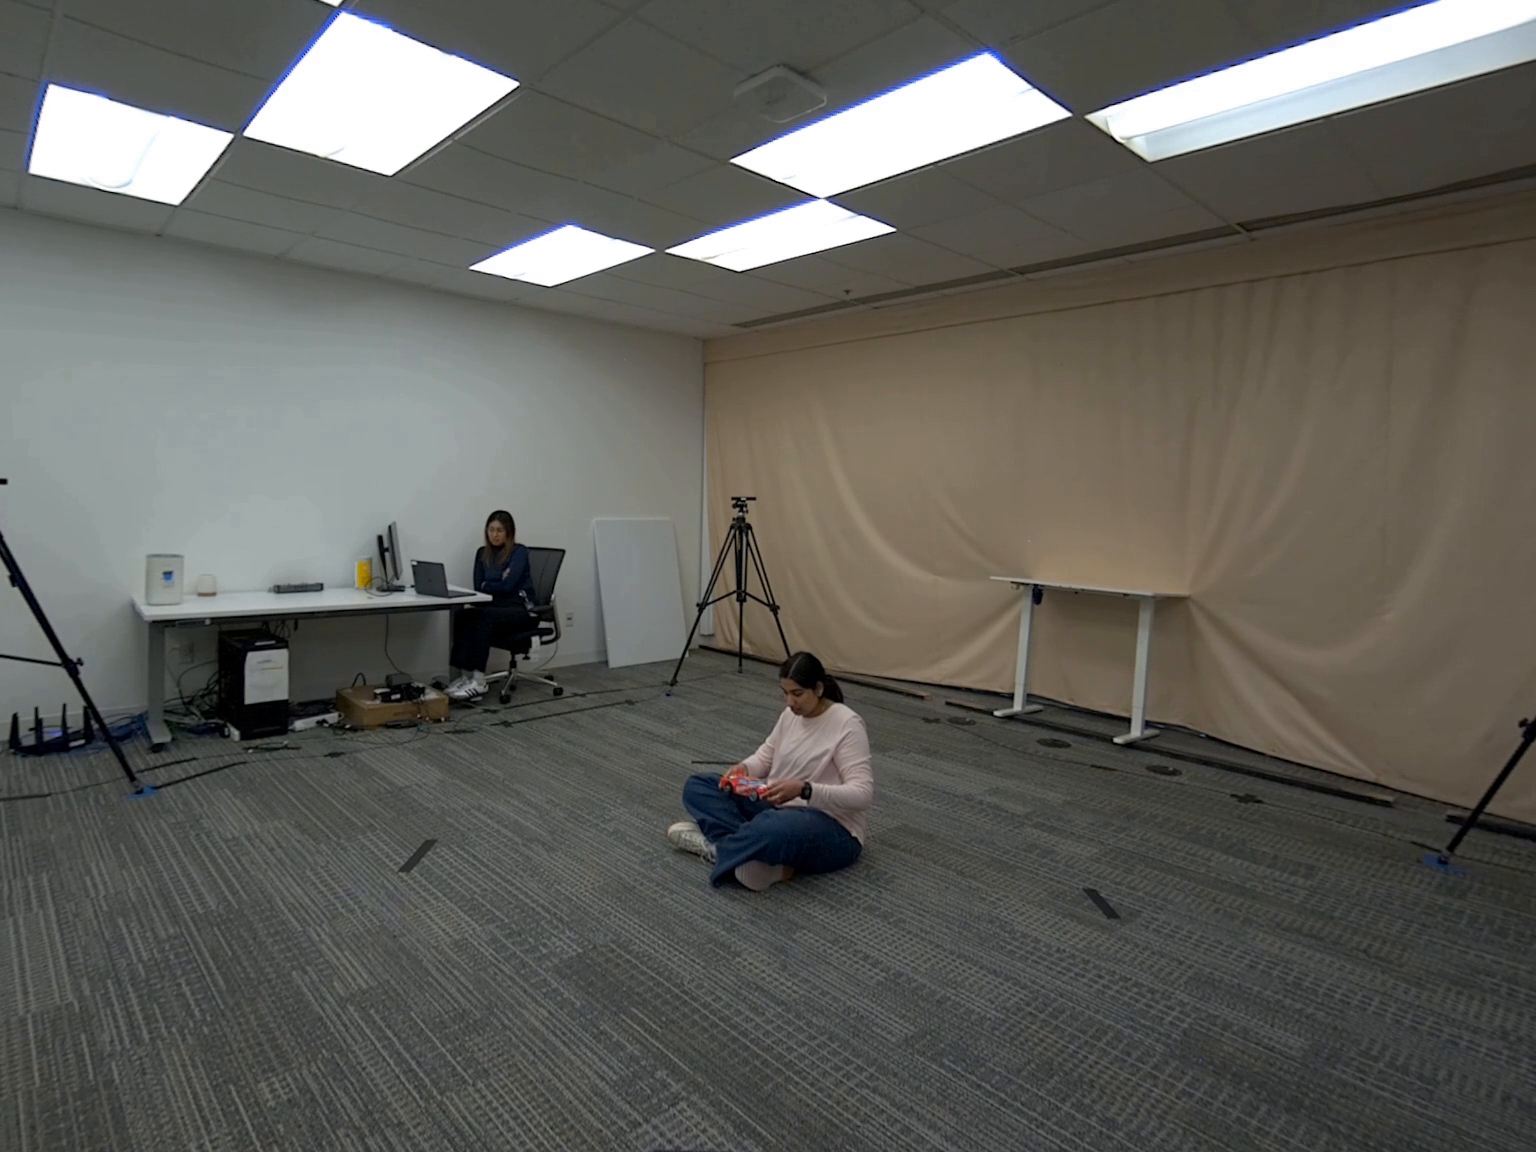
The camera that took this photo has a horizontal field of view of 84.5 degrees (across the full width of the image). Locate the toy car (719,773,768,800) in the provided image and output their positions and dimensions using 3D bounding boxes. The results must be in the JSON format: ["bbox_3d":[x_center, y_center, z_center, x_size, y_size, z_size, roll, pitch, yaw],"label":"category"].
[{"bbox_3d":[-0.085,0.803,3.188,0.127,0.083,0.261,14,0,-39],"label":"toy car"}]
